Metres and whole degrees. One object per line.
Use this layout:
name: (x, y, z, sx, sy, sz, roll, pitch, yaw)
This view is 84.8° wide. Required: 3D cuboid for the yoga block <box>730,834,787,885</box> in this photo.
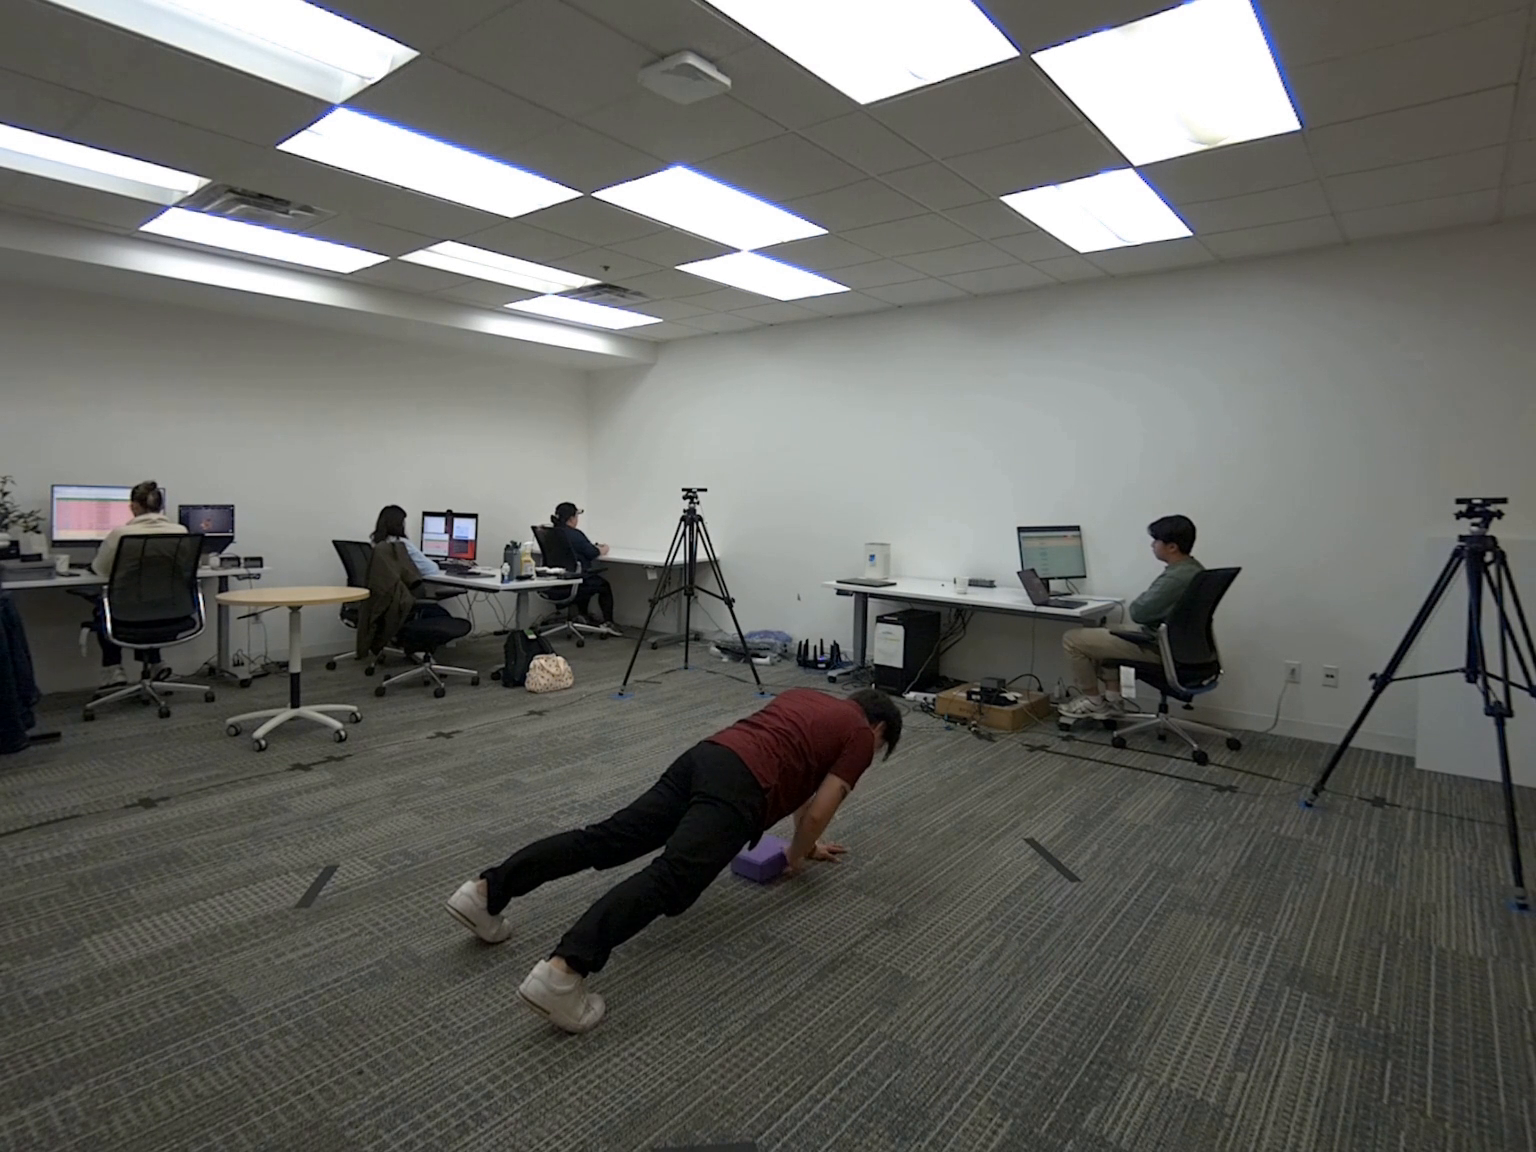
yoga block: (-0.018, 1.026, 3.117, 0.154, 0.076, 0.223, 4, 6, 38)
